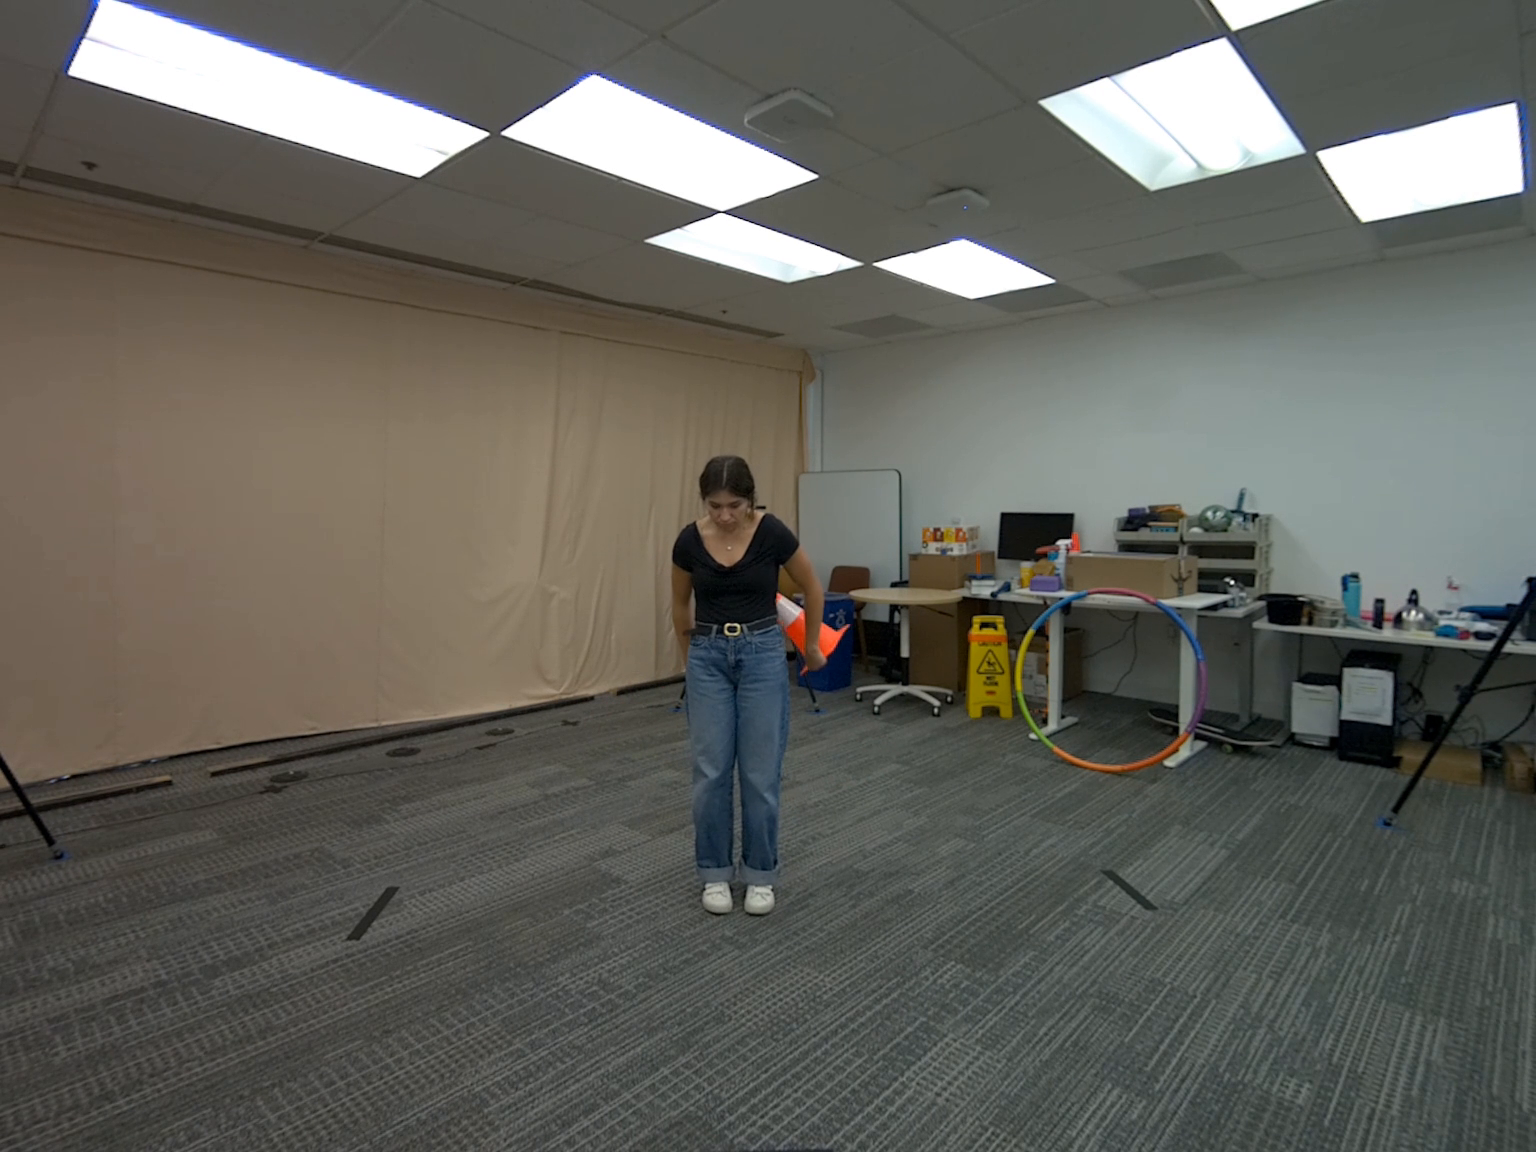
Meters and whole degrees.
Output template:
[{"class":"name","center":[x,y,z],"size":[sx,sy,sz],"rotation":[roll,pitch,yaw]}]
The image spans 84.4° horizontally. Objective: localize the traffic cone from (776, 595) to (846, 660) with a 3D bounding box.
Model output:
[{"class":"traffic cone","center":[0.090,0.168,3.170],"size":[0.205,0.384,0.203],"rotation":[-48,0,37]}]
